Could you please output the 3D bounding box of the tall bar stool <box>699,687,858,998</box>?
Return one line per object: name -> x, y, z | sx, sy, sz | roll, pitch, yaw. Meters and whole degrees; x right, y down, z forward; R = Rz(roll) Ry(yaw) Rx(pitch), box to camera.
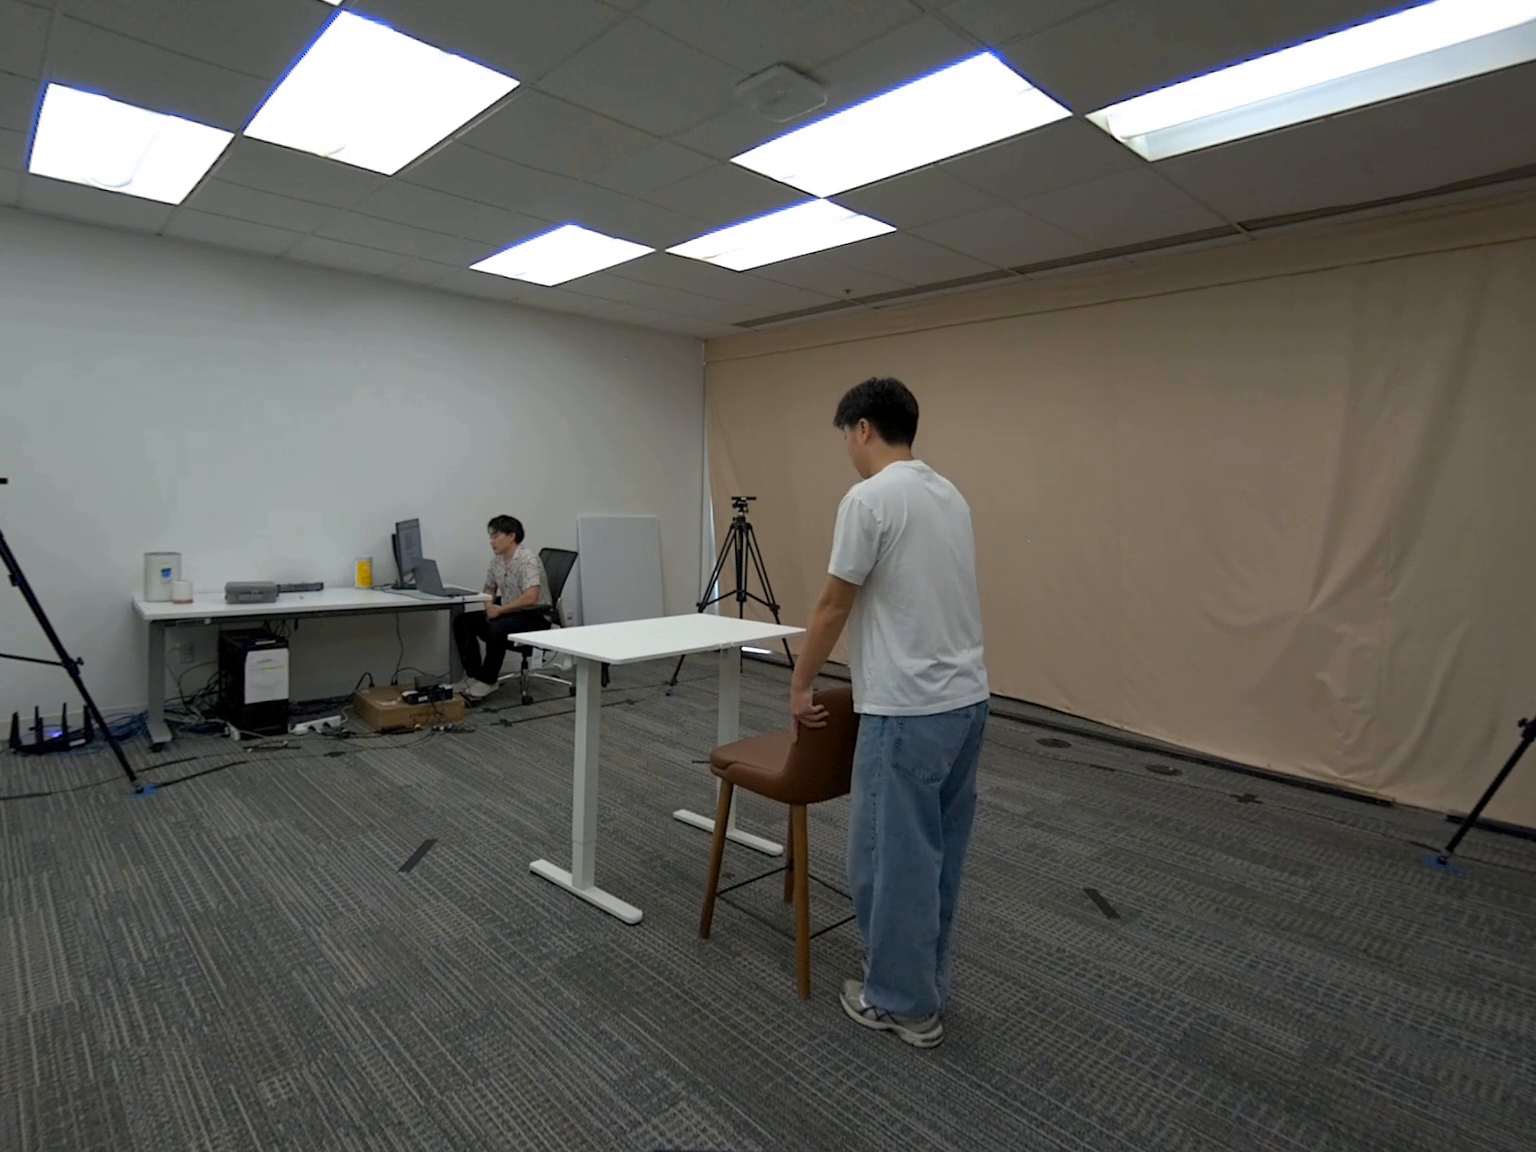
tall bar stool -> 0.090, 0.716, 2.606 | 0.446, 0.886, 0.480 | -2, 7, -43
